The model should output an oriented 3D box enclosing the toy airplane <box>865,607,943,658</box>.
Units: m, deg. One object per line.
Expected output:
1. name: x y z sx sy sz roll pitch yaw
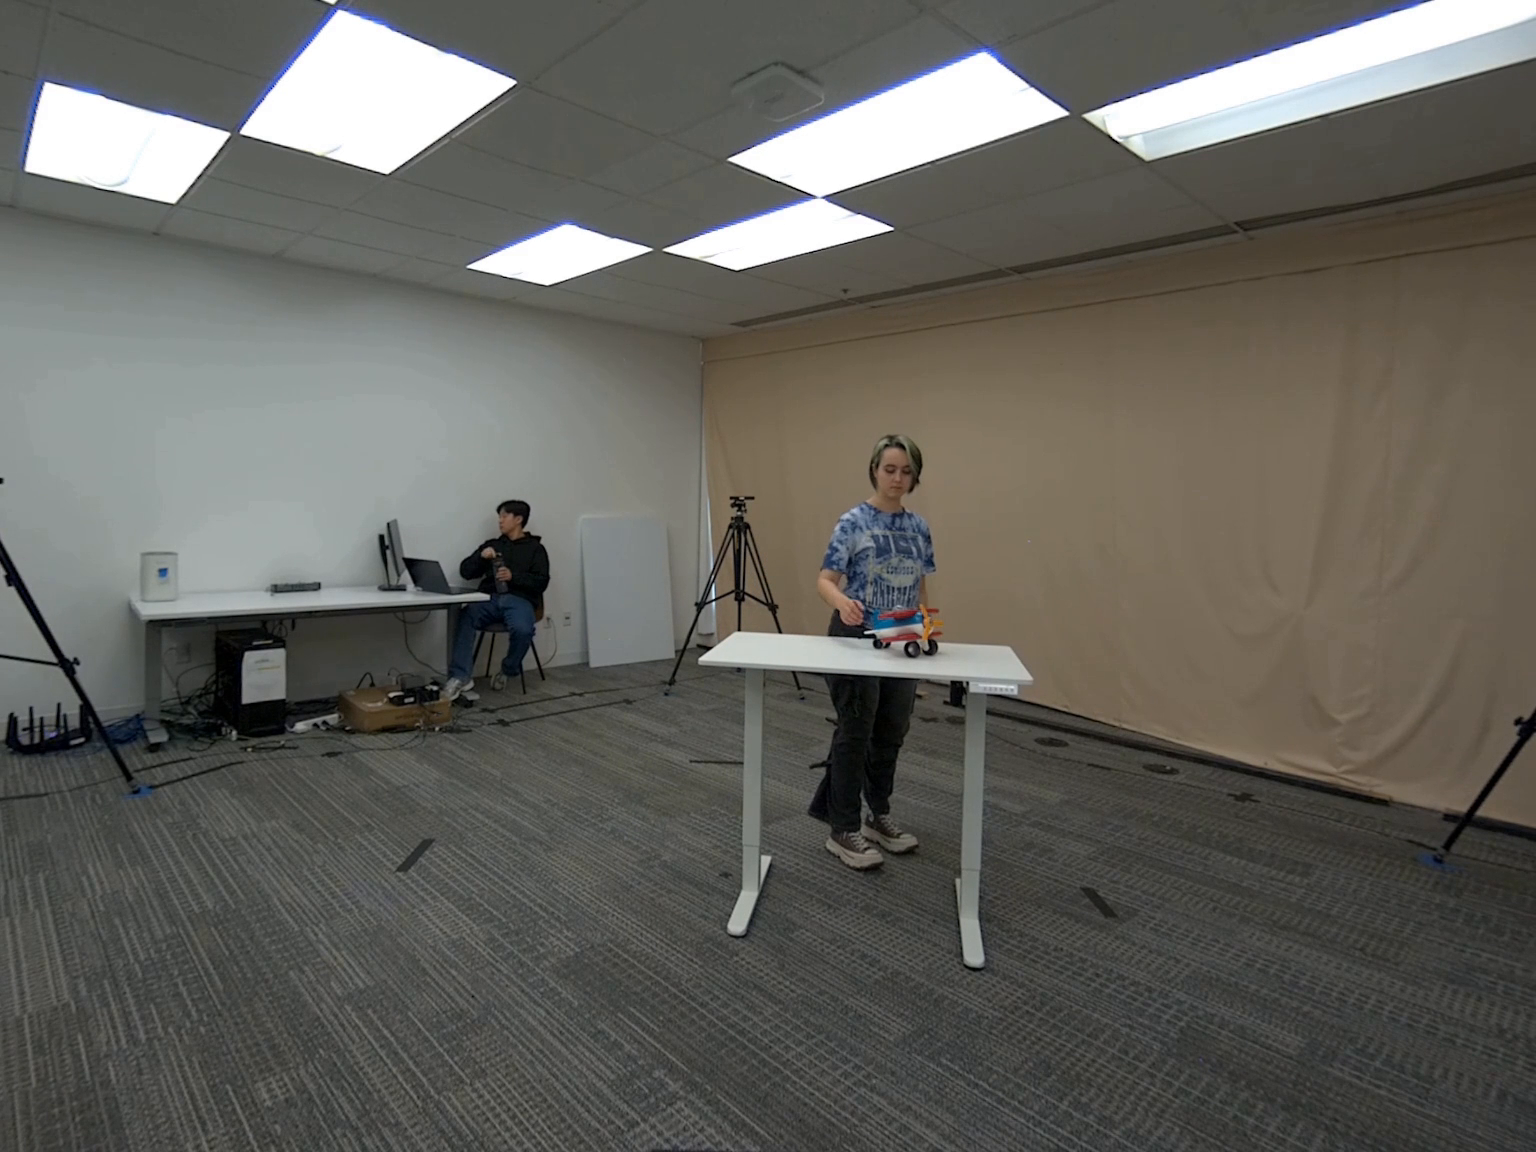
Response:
1. toy airplane: 0.437 0.185 2.831 0.264 0.156 0.247 4 5 24
